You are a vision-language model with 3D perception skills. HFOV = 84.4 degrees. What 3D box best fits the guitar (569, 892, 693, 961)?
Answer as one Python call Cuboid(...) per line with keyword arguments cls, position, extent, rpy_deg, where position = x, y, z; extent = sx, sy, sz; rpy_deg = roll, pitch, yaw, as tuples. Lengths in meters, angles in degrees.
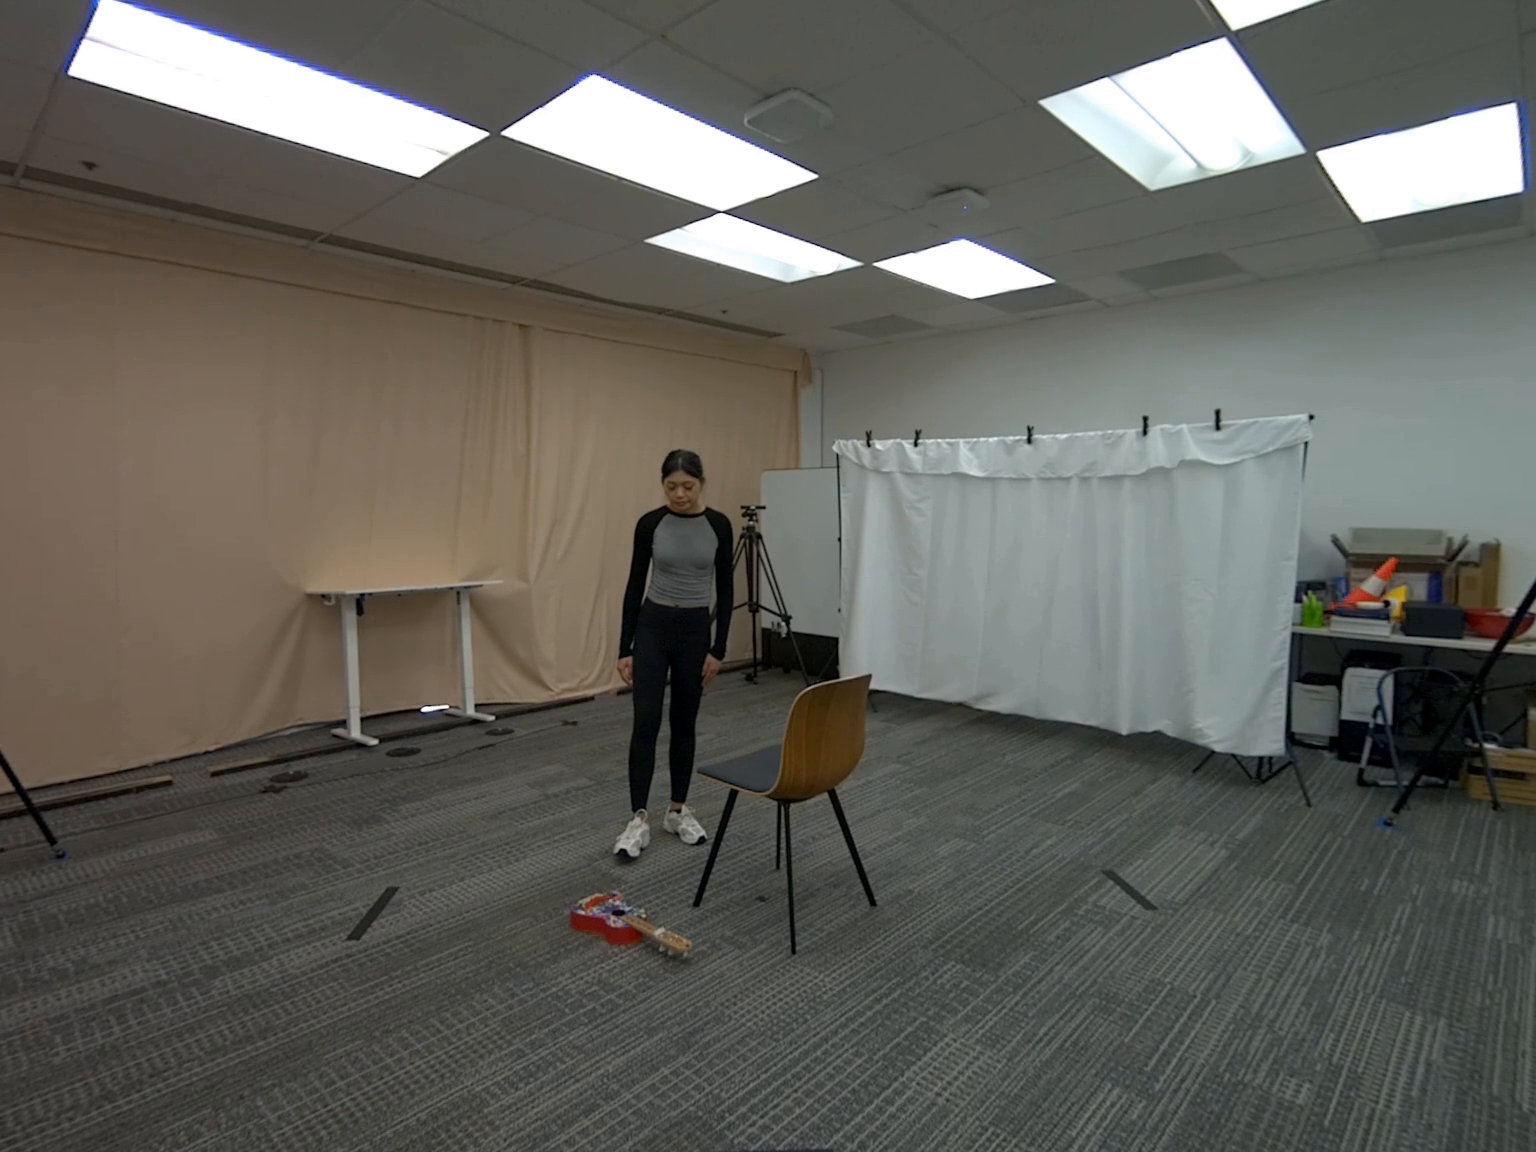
Cuboid(cls="guitar", position=(-0.452, 1.130, 2.700), extent=(0.187, 0.070, 0.514), rpy_deg=(-4, 6, -40))
